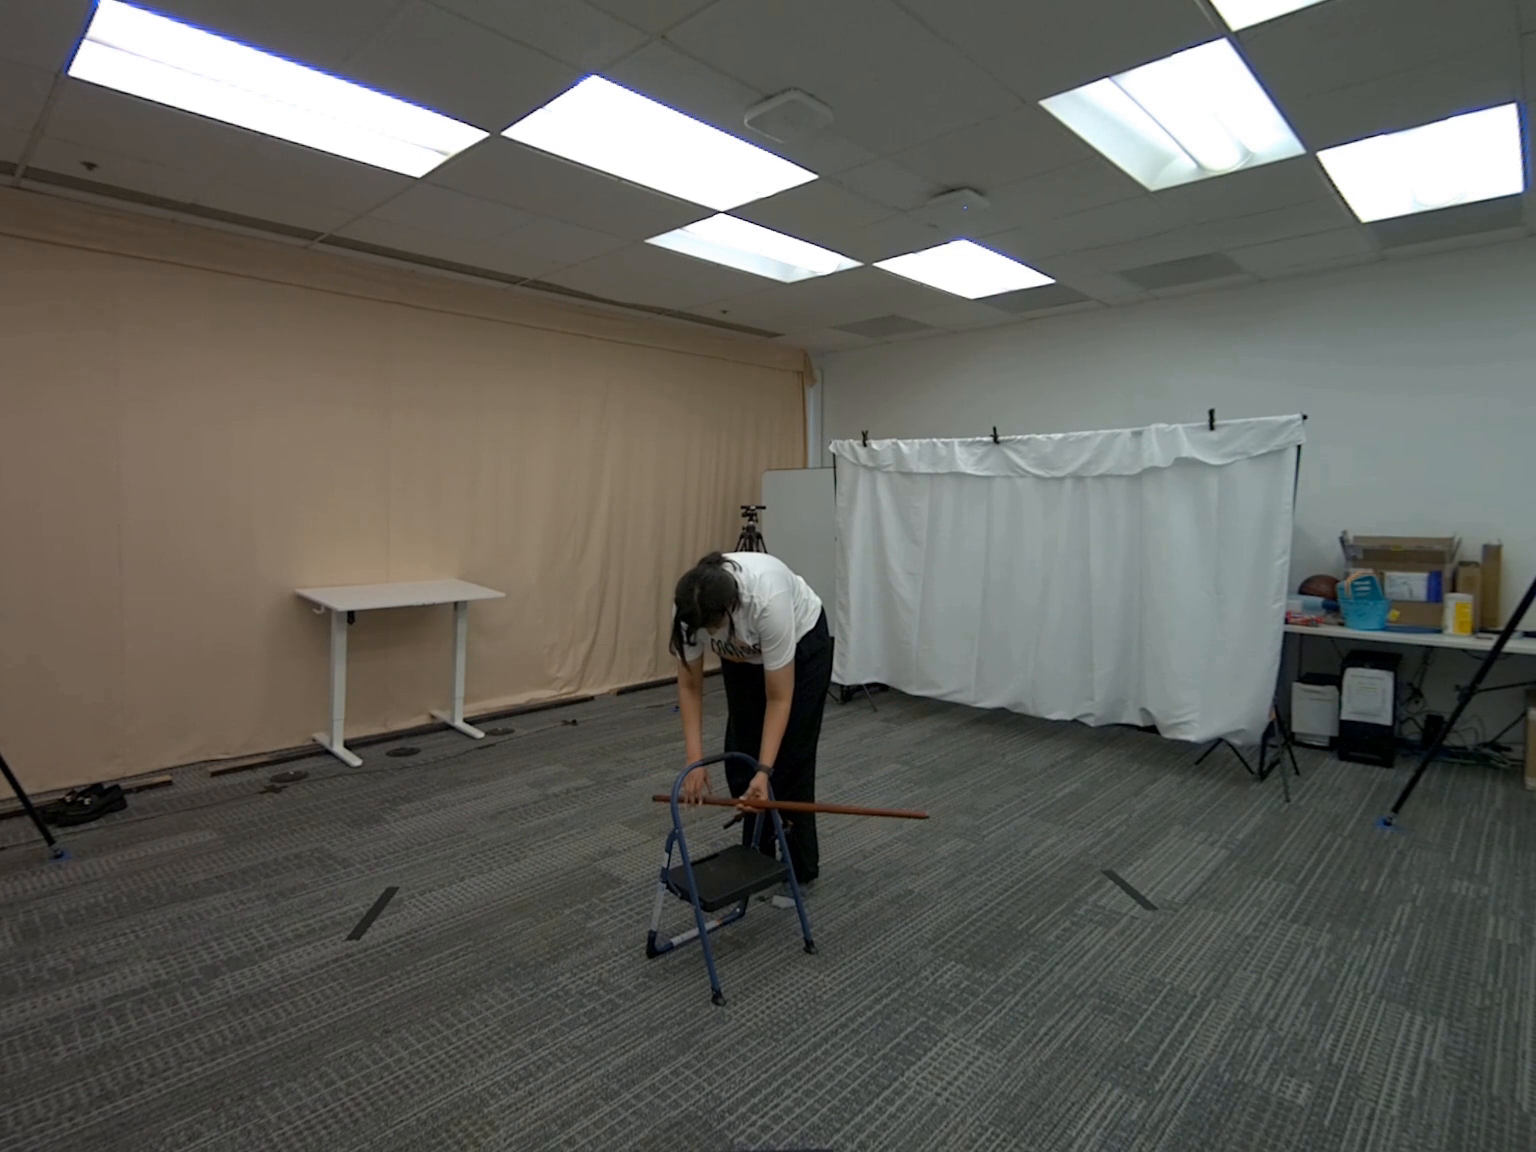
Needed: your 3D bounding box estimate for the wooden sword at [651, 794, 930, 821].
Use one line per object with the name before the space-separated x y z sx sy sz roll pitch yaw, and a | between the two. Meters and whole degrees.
wooden sword | -0.004 0.678 2.476 1.054 0.050 0.024 -8 22 41
